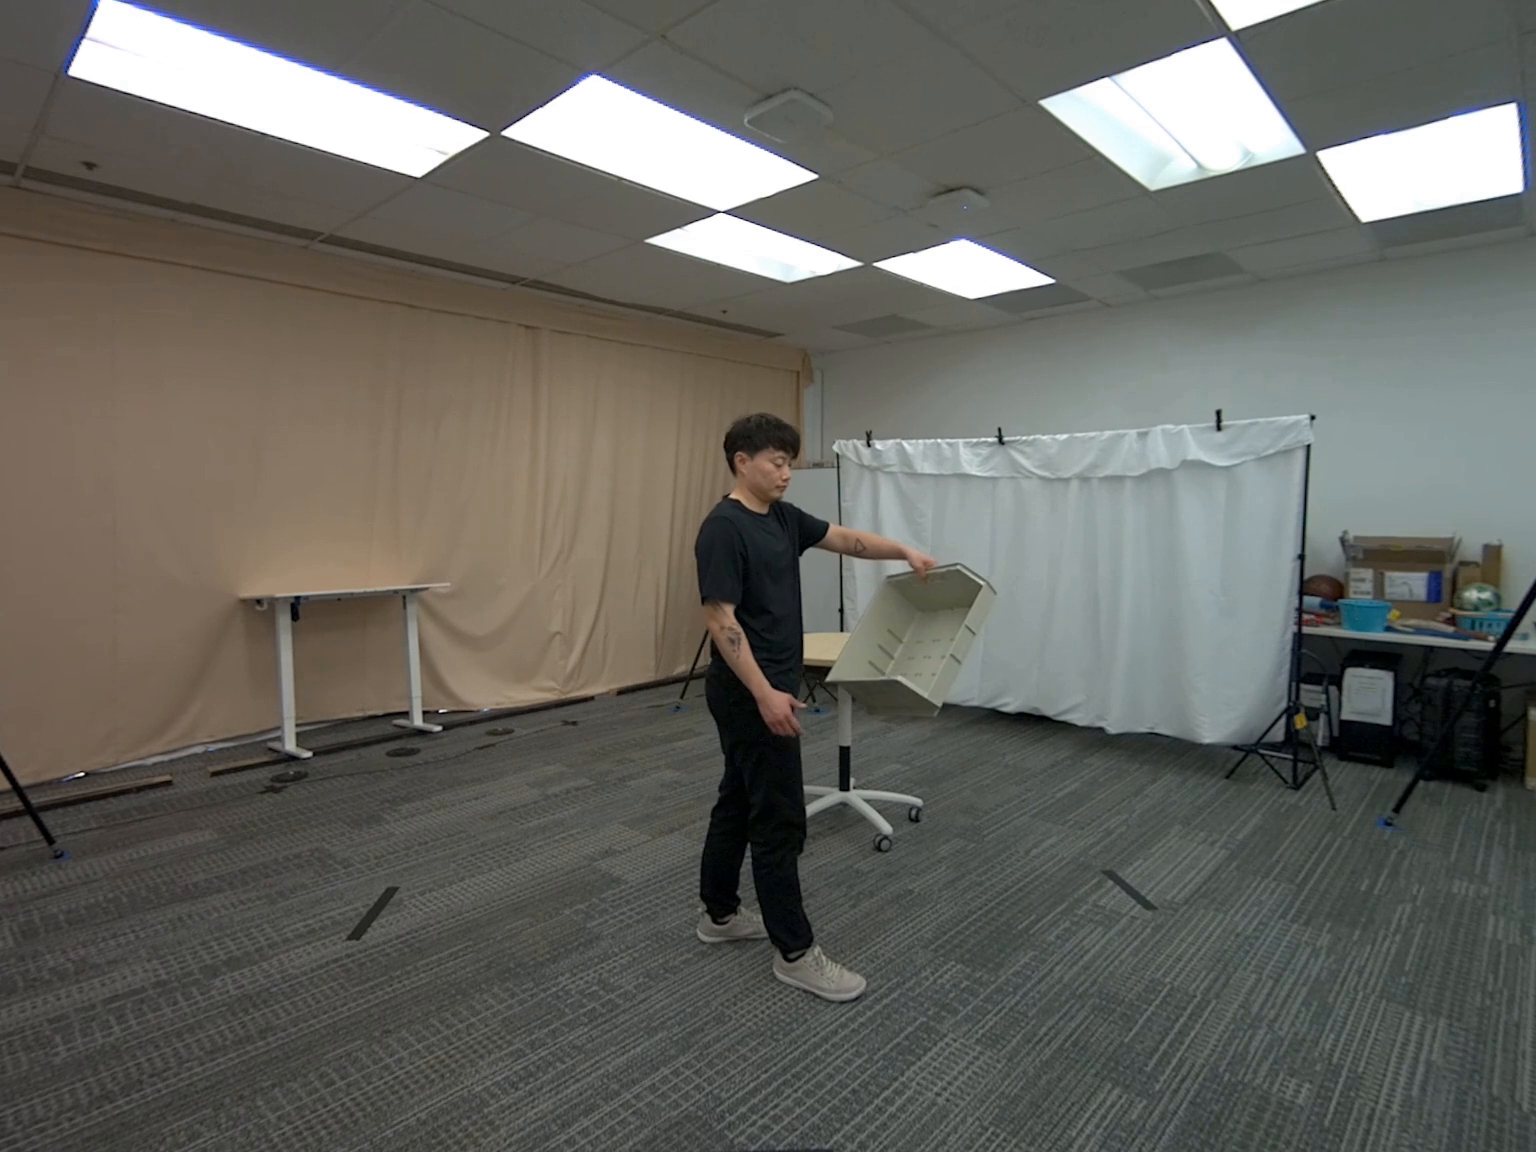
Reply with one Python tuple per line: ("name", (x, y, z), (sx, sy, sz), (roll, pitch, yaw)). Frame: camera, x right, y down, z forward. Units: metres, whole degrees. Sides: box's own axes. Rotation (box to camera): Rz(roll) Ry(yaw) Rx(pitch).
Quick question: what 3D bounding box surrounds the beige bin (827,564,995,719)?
("beige bin", (0.444, 0.193, 2.507), (0.185, 0.421, 0.386), (42, -26, -18))
